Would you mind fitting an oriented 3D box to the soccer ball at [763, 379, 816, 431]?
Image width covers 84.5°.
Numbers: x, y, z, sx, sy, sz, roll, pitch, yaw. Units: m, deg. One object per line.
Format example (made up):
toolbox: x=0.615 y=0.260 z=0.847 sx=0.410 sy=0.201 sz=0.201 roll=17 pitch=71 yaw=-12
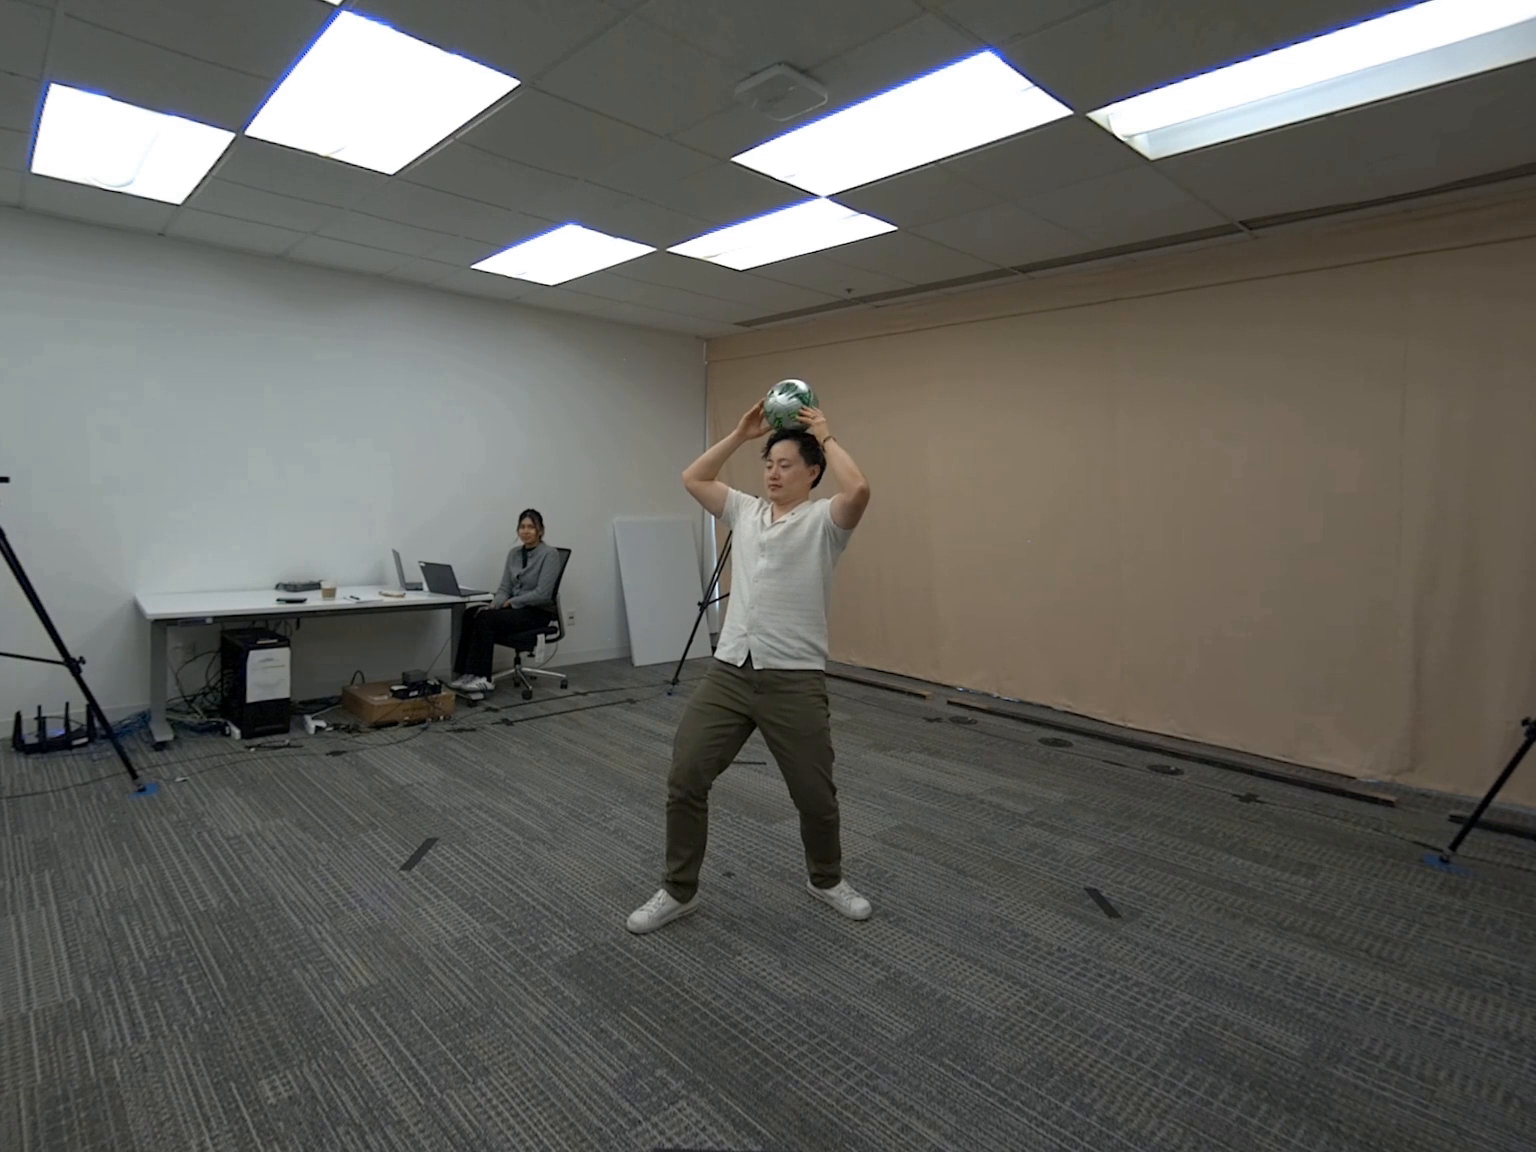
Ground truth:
soccer ball: x=0.078 y=-0.575 z=2.865 sx=0.187 sy=0.187 sz=0.188 roll=1 pitch=4 yaw=-1
